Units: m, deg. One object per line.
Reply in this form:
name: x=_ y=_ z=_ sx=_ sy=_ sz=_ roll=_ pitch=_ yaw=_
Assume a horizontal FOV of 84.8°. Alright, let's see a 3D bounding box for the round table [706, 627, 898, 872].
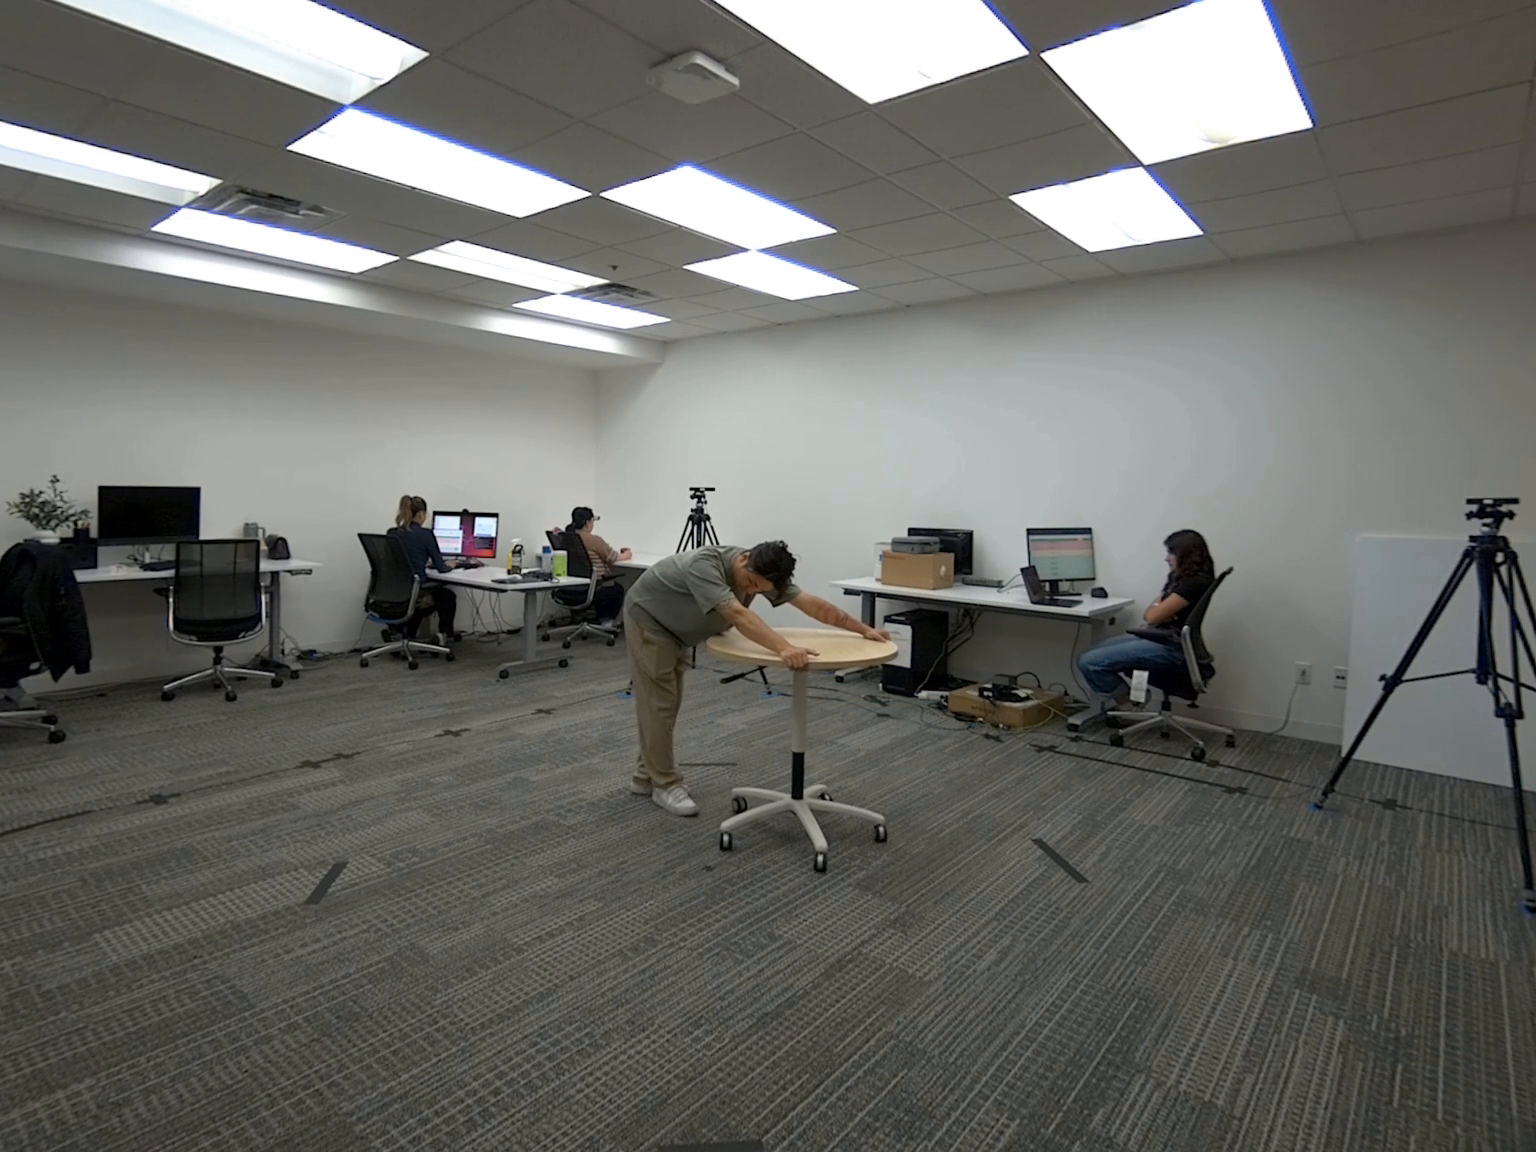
round table: x=0.130 y=0.652 z=3.448 sx=0.784 sy=0.784 sz=0.789 roll=1 pitch=4 yaw=-2
